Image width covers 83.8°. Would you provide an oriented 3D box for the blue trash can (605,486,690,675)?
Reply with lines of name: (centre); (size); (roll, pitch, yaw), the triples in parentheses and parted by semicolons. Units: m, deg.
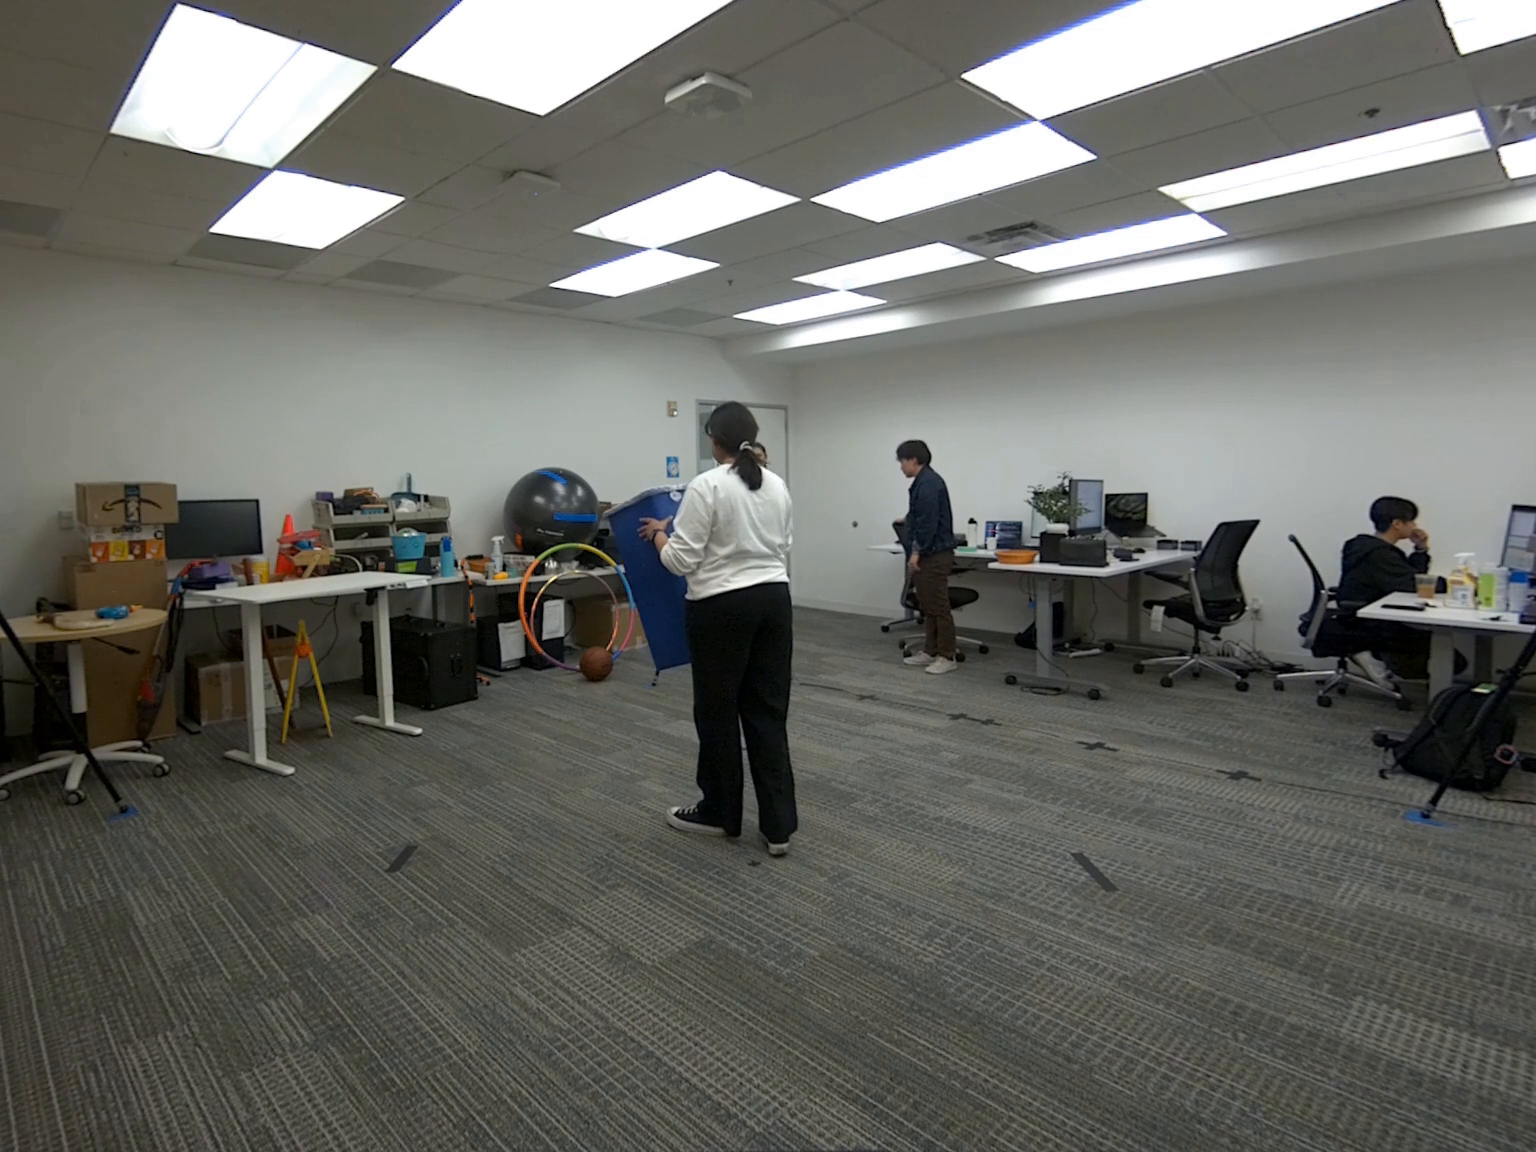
blue trash can: (-0.385, 0.000, 3.636); (0.381, 0.717, 0.369); (-20, -5, 41)
